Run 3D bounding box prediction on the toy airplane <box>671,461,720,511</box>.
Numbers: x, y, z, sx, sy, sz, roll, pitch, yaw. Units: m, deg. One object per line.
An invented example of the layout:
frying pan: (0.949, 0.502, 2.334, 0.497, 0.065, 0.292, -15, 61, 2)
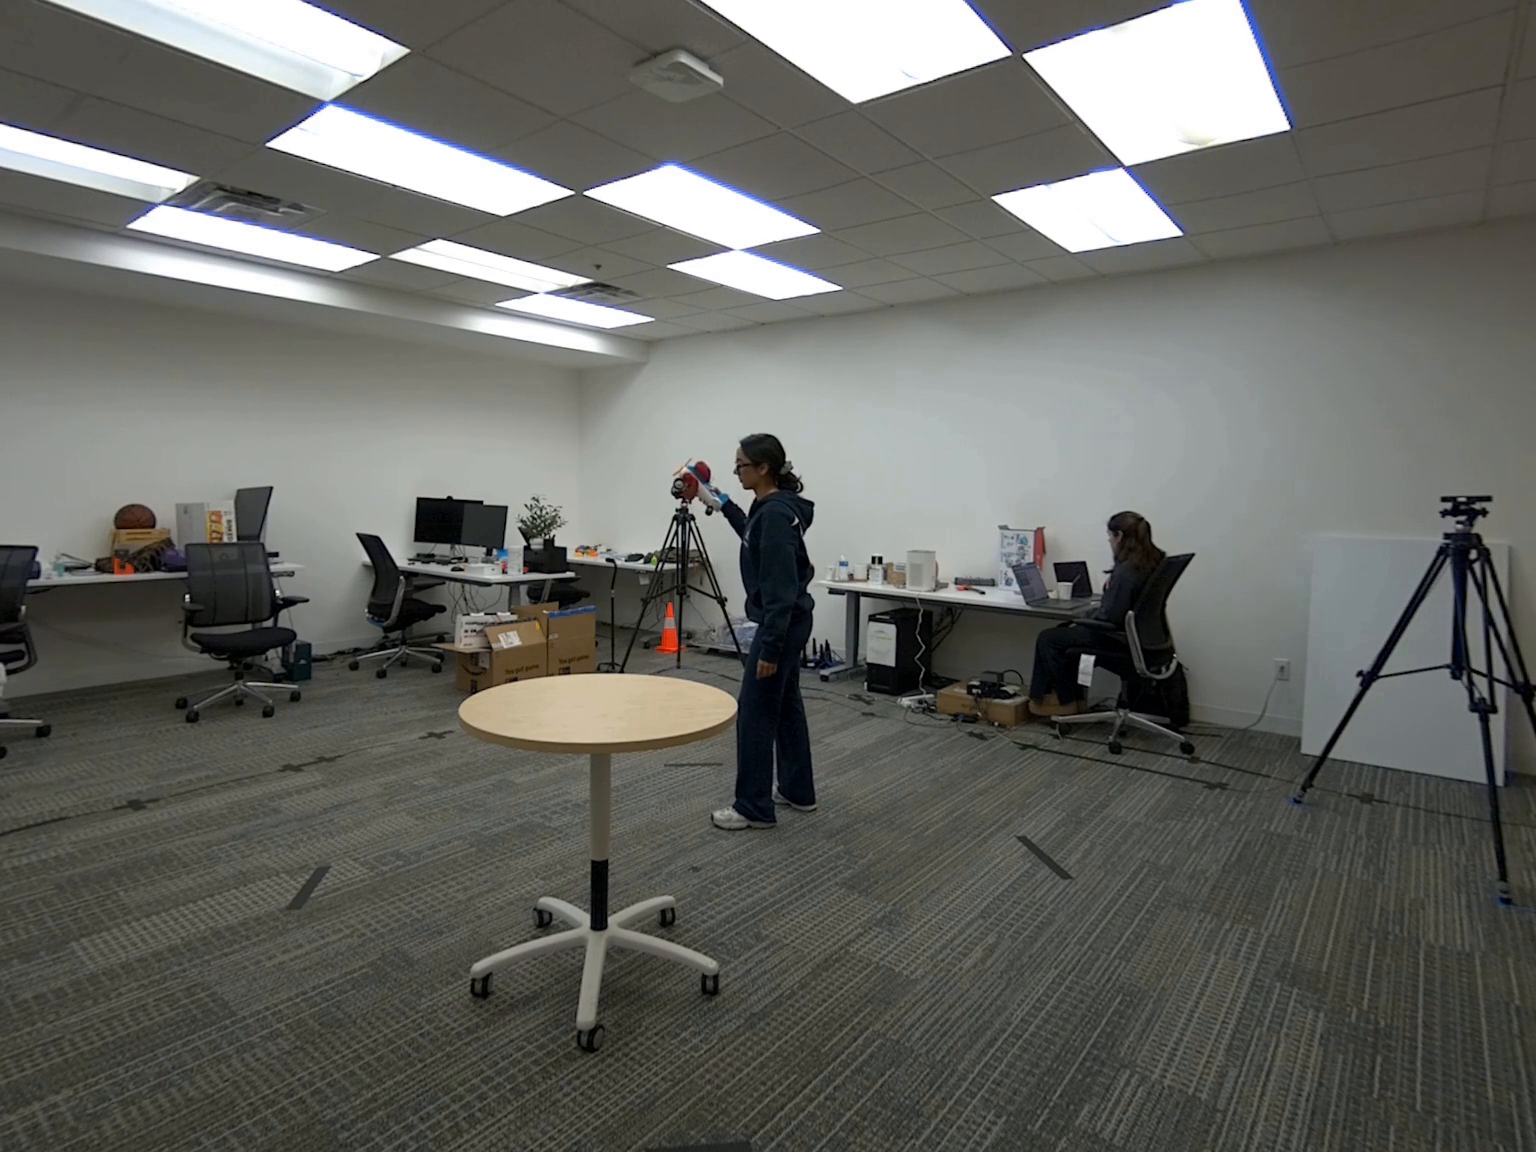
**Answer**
toy airplane: (-0.330, -0.388, 3.849, 0.251, 0.157, 0.258, 44, -23, -26)
